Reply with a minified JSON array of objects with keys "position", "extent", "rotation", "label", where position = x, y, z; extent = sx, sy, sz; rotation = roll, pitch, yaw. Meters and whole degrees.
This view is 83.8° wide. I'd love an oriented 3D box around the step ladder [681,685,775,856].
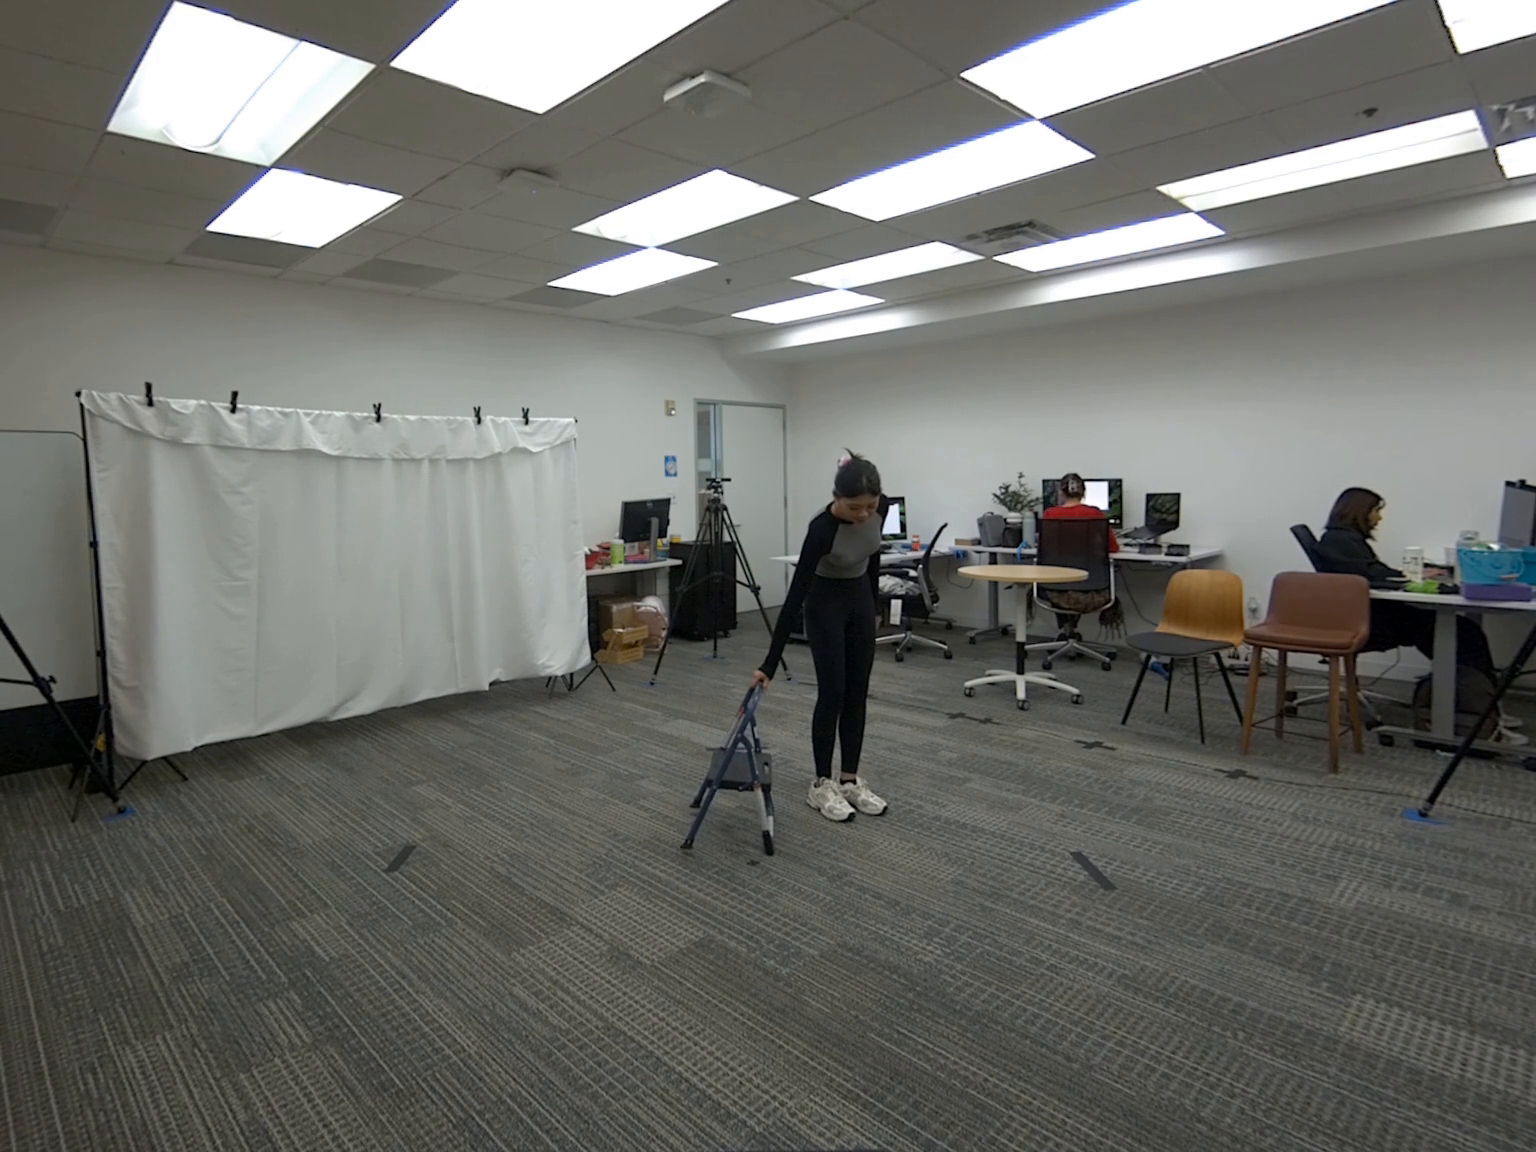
[{"position":[-0.124,0.703,3.350],"extent":[0.350,0.604,0.431],"rotation":[4,5,1],"label":"step ladder"}]
